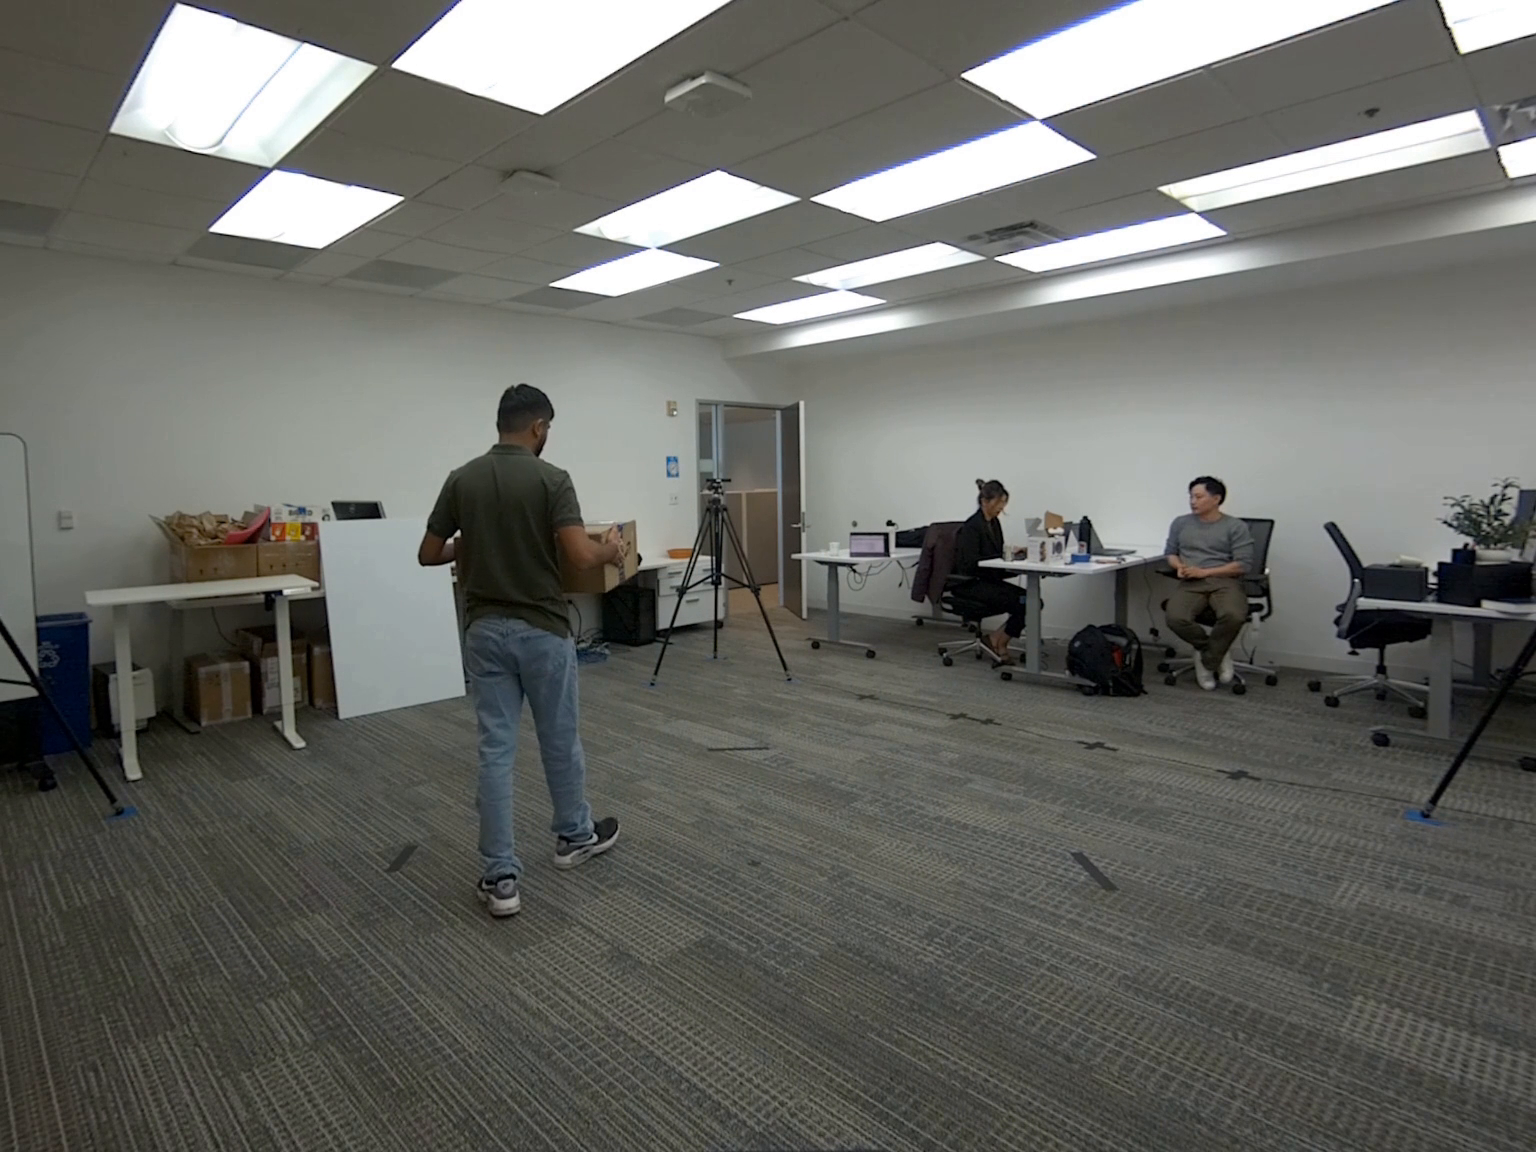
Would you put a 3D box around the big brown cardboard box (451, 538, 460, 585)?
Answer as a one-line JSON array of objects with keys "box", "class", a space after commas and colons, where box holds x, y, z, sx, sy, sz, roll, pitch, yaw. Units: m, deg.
[{"box": [-0.820, -0.077, 3.240, 0.593, 0.231, 0.418, -2, 10, 6], "class": "big brown cardboard box"}]
